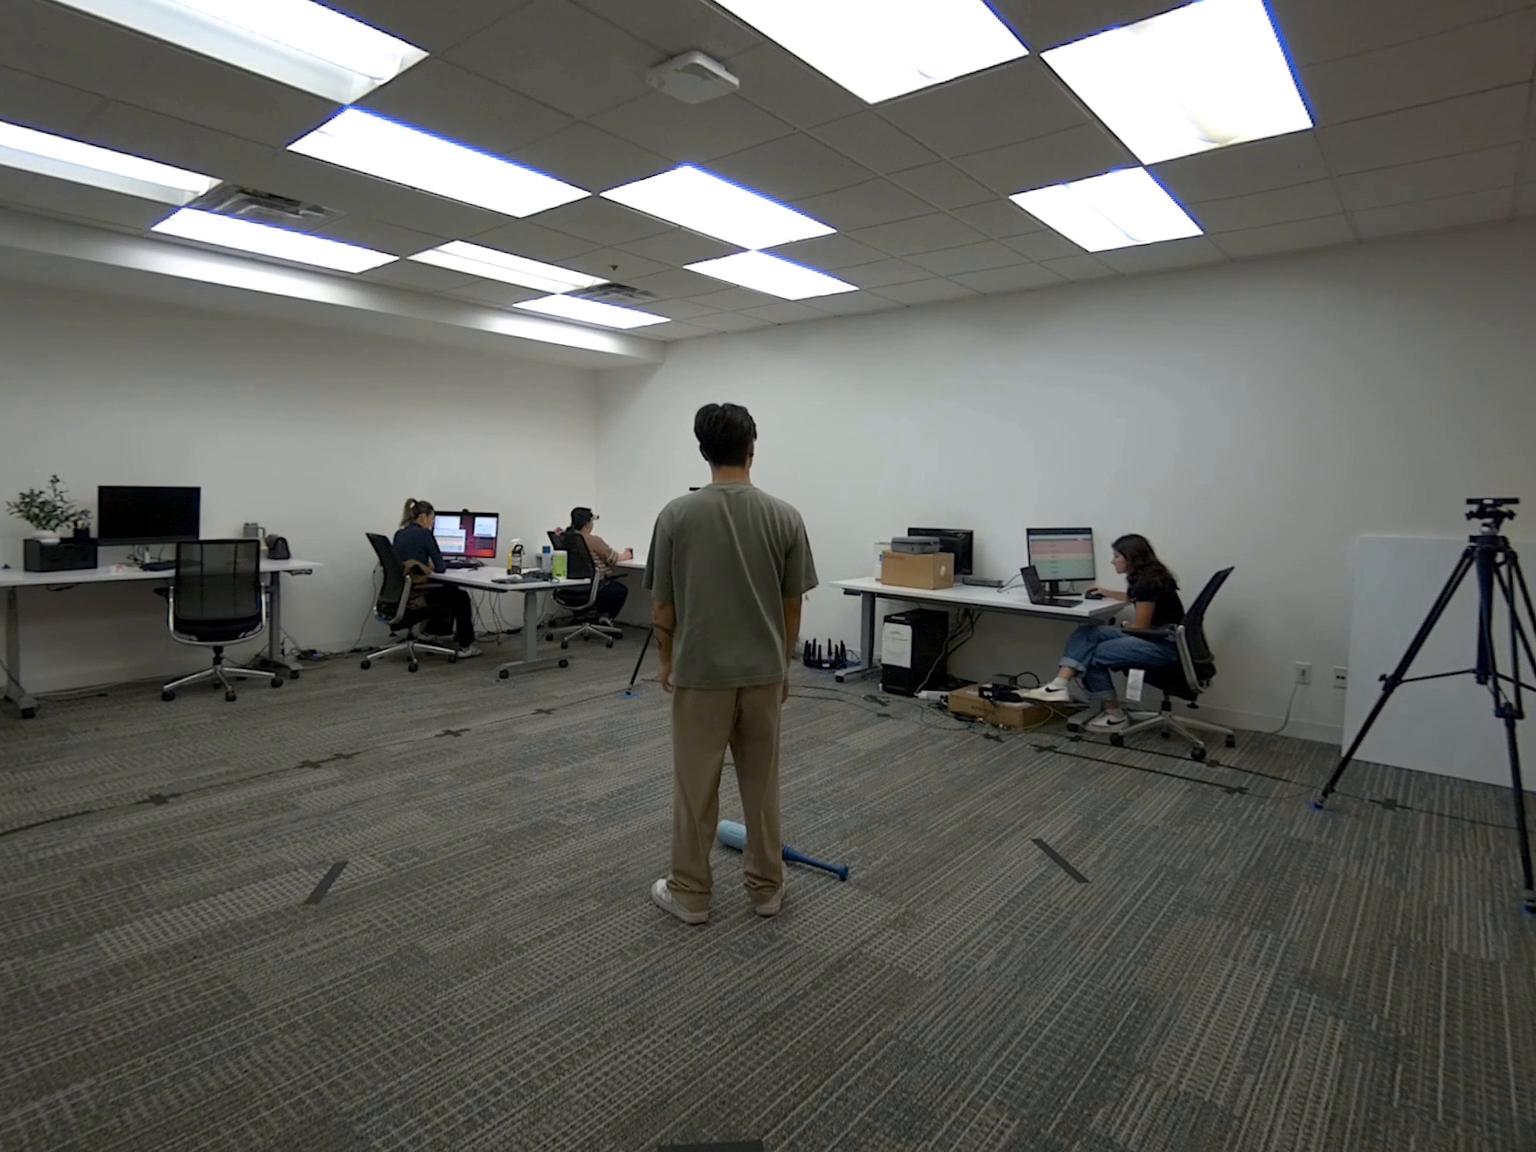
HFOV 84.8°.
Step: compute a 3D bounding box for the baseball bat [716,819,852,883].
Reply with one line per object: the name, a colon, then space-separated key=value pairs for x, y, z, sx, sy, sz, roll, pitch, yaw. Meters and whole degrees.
baseball bat: x=0.038 y=1.030 z=3.186 sx=0.561 sy=0.088 sz=0.087 roll=9 pitch=8 yaw=31
